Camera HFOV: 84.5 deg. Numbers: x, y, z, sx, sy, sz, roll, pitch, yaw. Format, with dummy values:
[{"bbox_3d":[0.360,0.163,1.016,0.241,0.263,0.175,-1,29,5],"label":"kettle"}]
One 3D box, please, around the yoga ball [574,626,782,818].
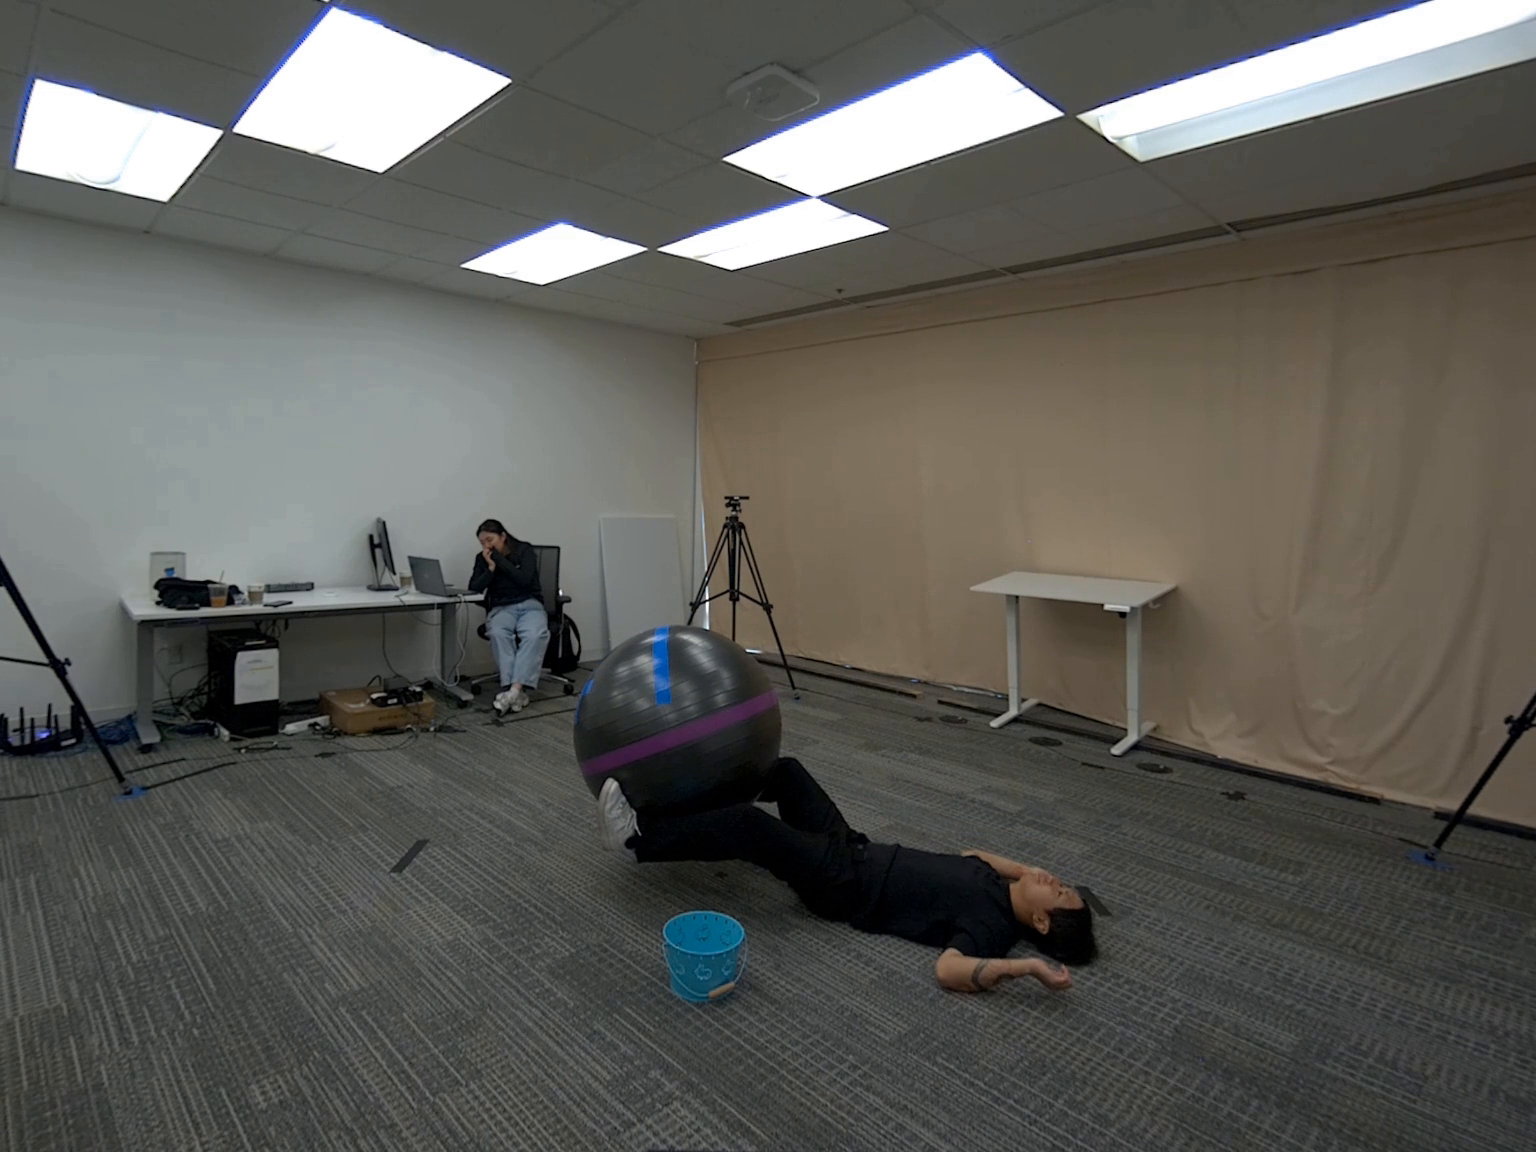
[{"bbox_3d":[-0.332,0.571,3.101,0.757,0.756,0.761,1,4,-1],"label":"yoga ball"}]
